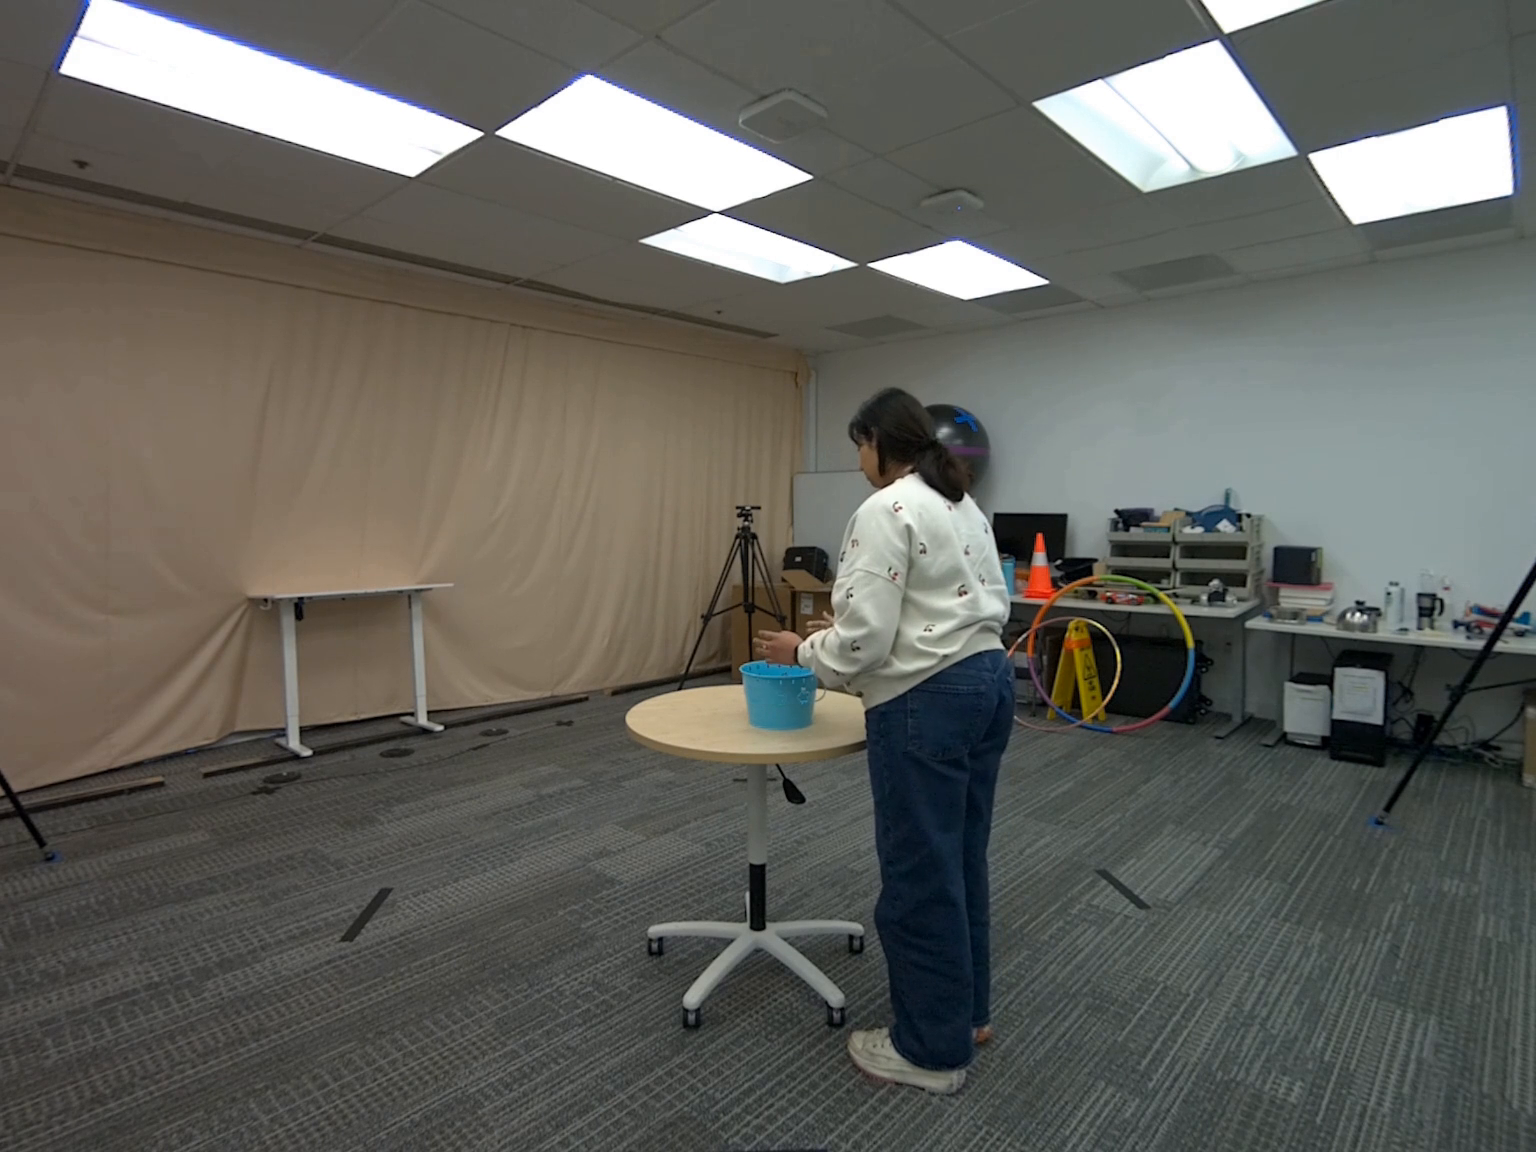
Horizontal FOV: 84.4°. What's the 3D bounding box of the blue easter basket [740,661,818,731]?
[{"bbox_3d":[0.052,0.341,2.374,0.243,0.155,0.245,0,7,-2],"label":"blue easter basket"}]
